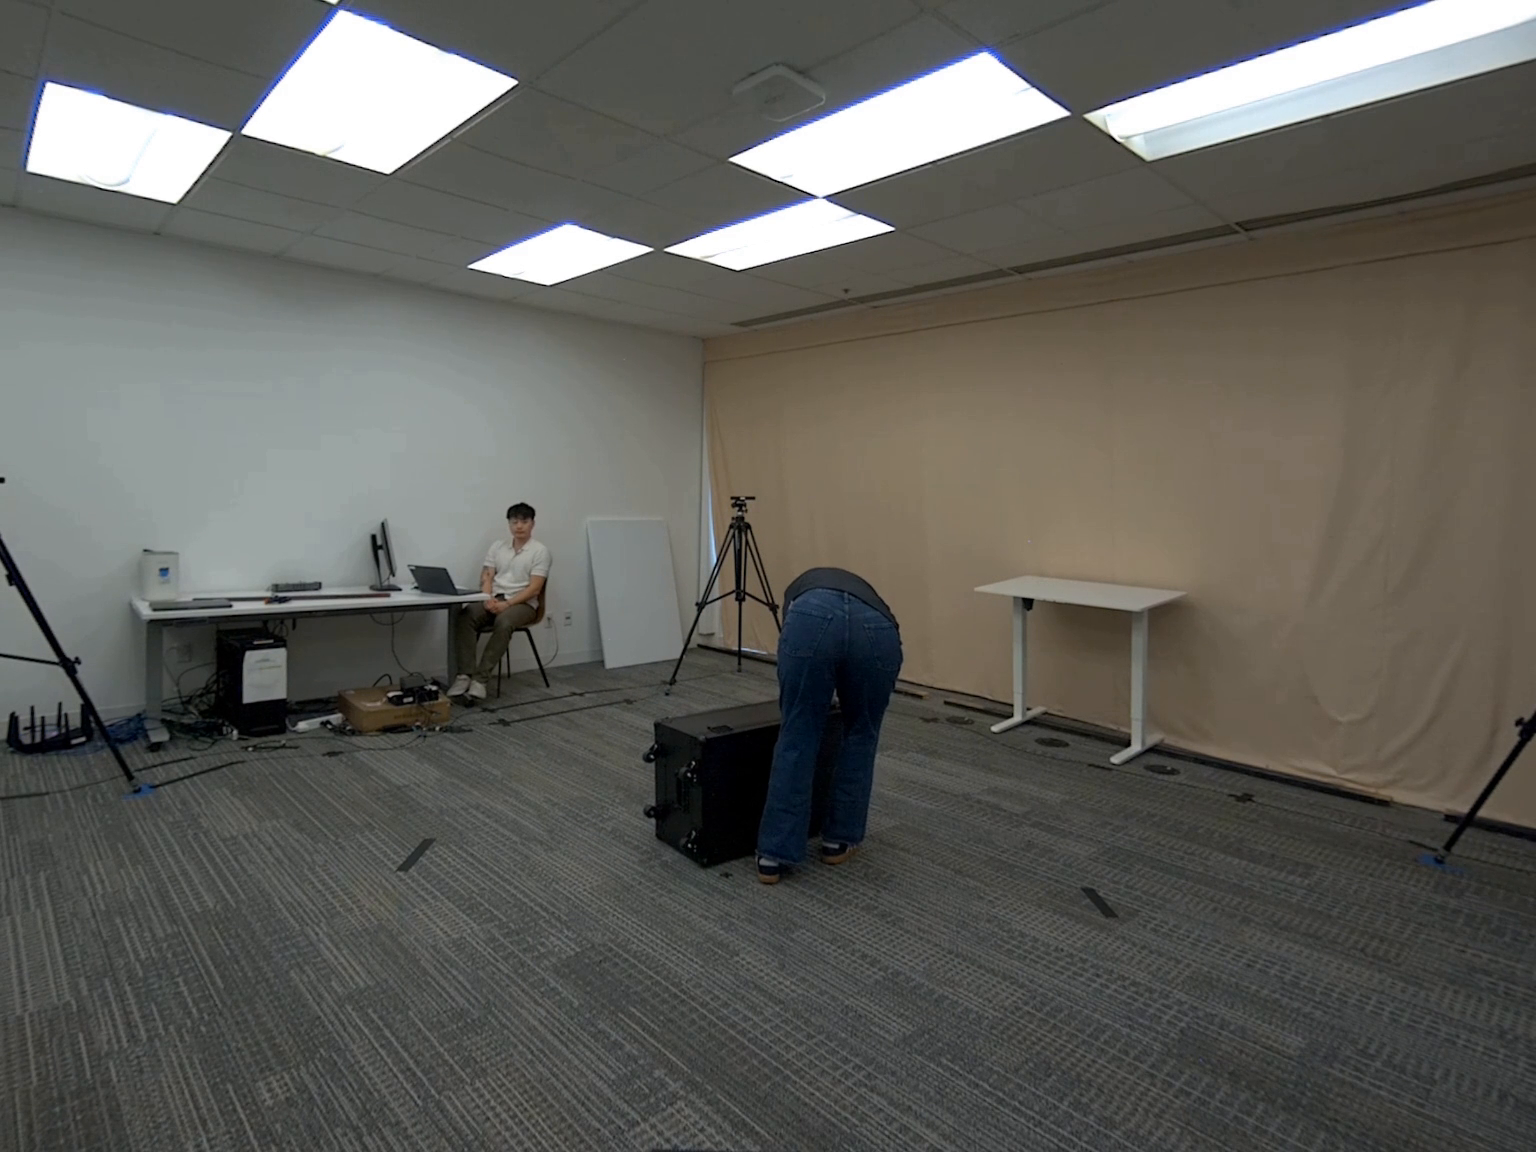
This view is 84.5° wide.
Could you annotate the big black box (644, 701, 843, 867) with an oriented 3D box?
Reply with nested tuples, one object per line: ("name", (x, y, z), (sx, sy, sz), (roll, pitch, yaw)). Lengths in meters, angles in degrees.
("big black box", (-0.084, 0.807, 3.485), (0.849, 0.522, 0.395), (-3, 6, -38))
